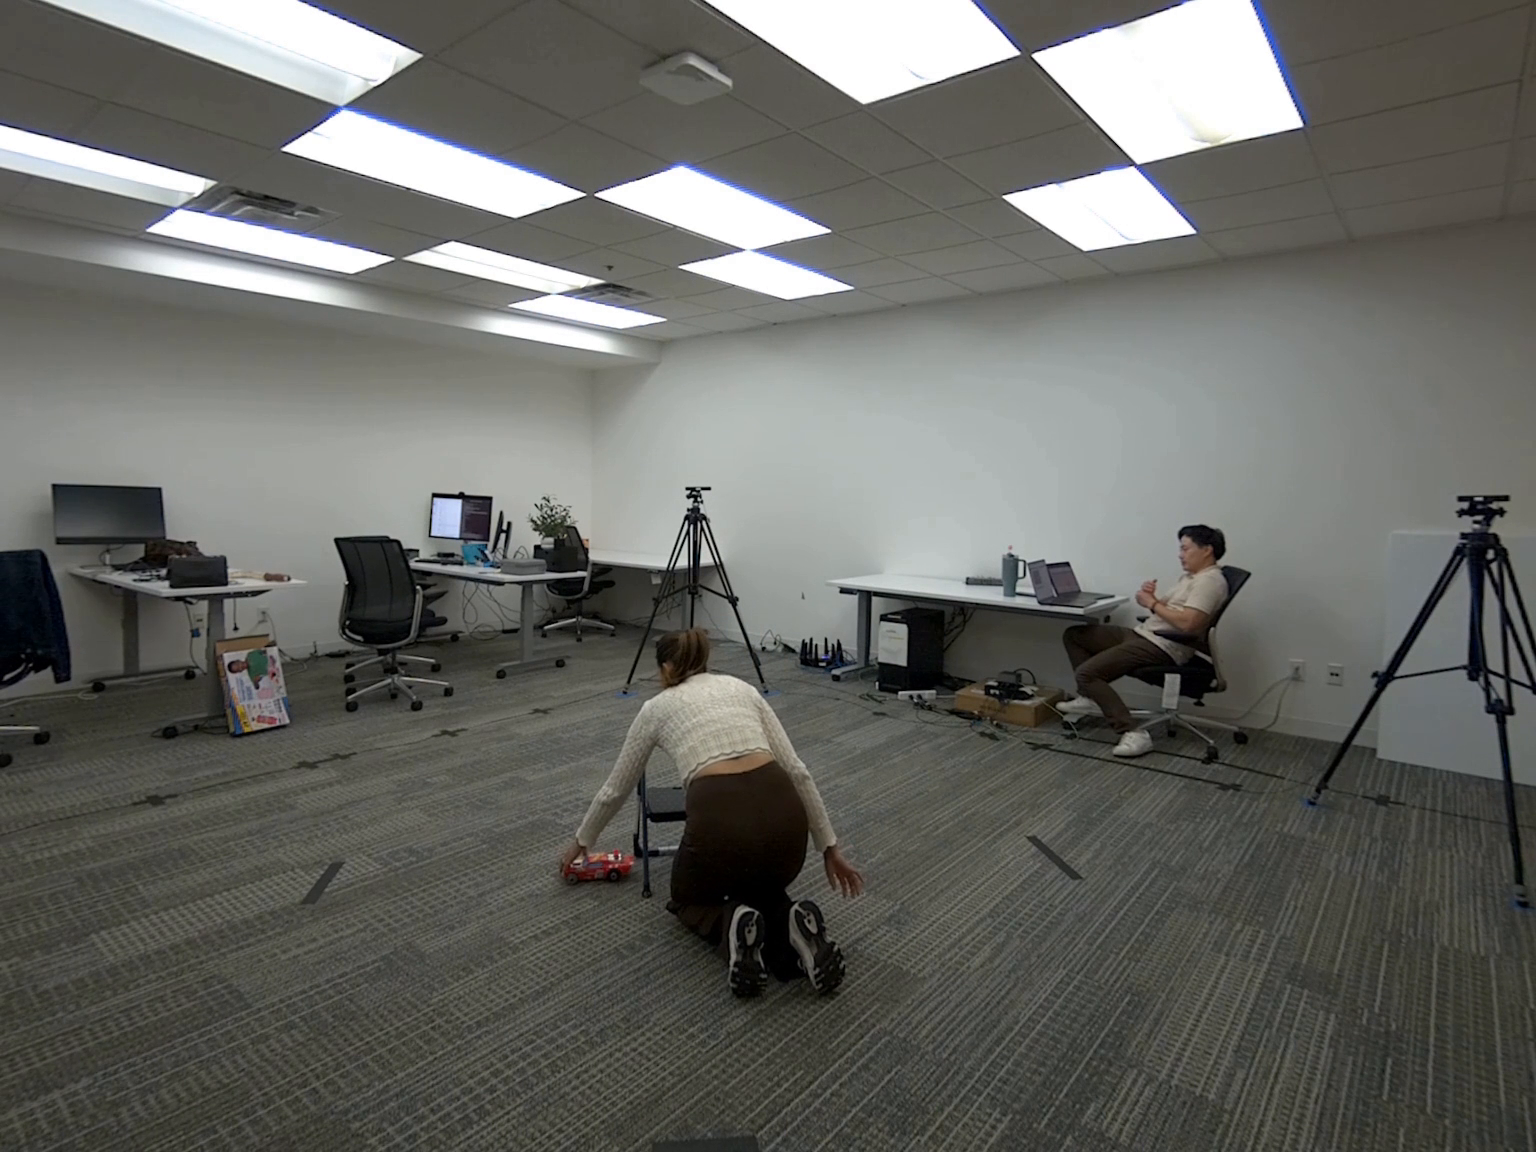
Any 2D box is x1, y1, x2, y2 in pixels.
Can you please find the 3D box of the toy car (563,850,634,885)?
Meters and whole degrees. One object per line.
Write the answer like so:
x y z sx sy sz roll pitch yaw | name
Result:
-0.602 1.039 3.030 0.253 0.083 0.132 -12 6 -7 | toy car
